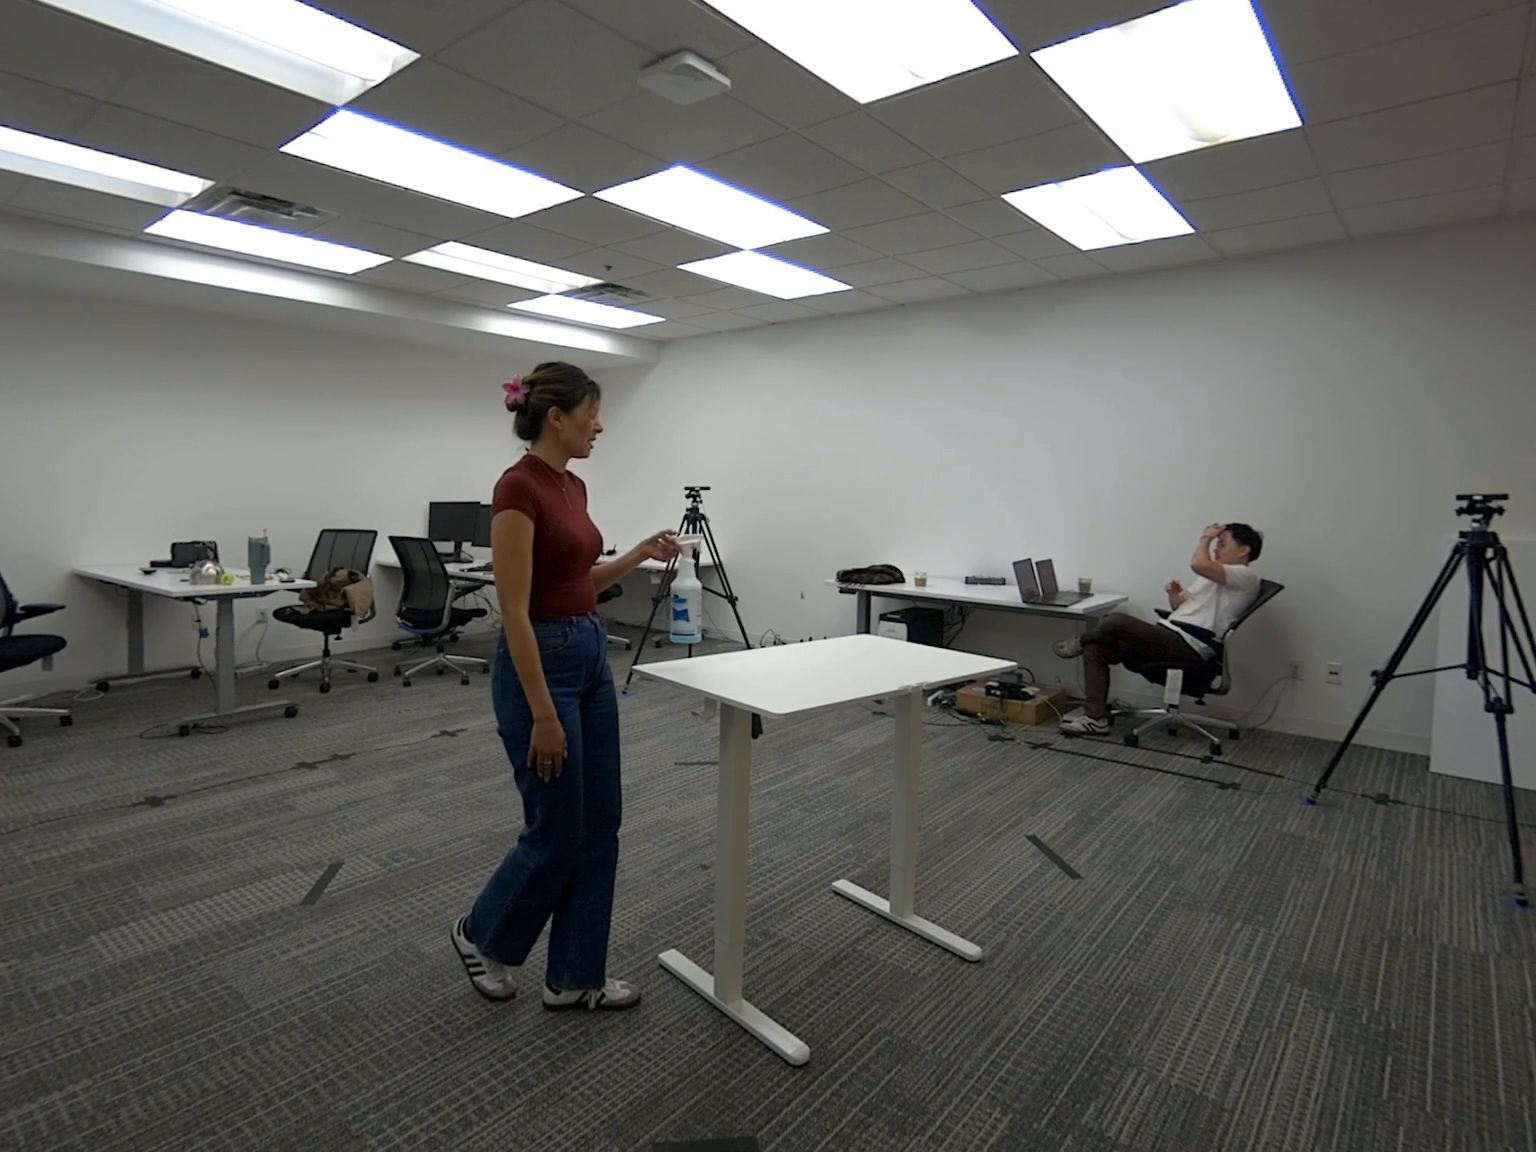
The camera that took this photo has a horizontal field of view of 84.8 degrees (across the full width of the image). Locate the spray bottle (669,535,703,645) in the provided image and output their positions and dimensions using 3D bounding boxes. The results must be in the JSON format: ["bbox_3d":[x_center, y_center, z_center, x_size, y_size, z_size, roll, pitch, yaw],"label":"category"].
[{"bbox_3d":[-0.236,0.037,2.337,0.089,0.297,0.087,1,0,-5],"label":"spray bottle"}]
